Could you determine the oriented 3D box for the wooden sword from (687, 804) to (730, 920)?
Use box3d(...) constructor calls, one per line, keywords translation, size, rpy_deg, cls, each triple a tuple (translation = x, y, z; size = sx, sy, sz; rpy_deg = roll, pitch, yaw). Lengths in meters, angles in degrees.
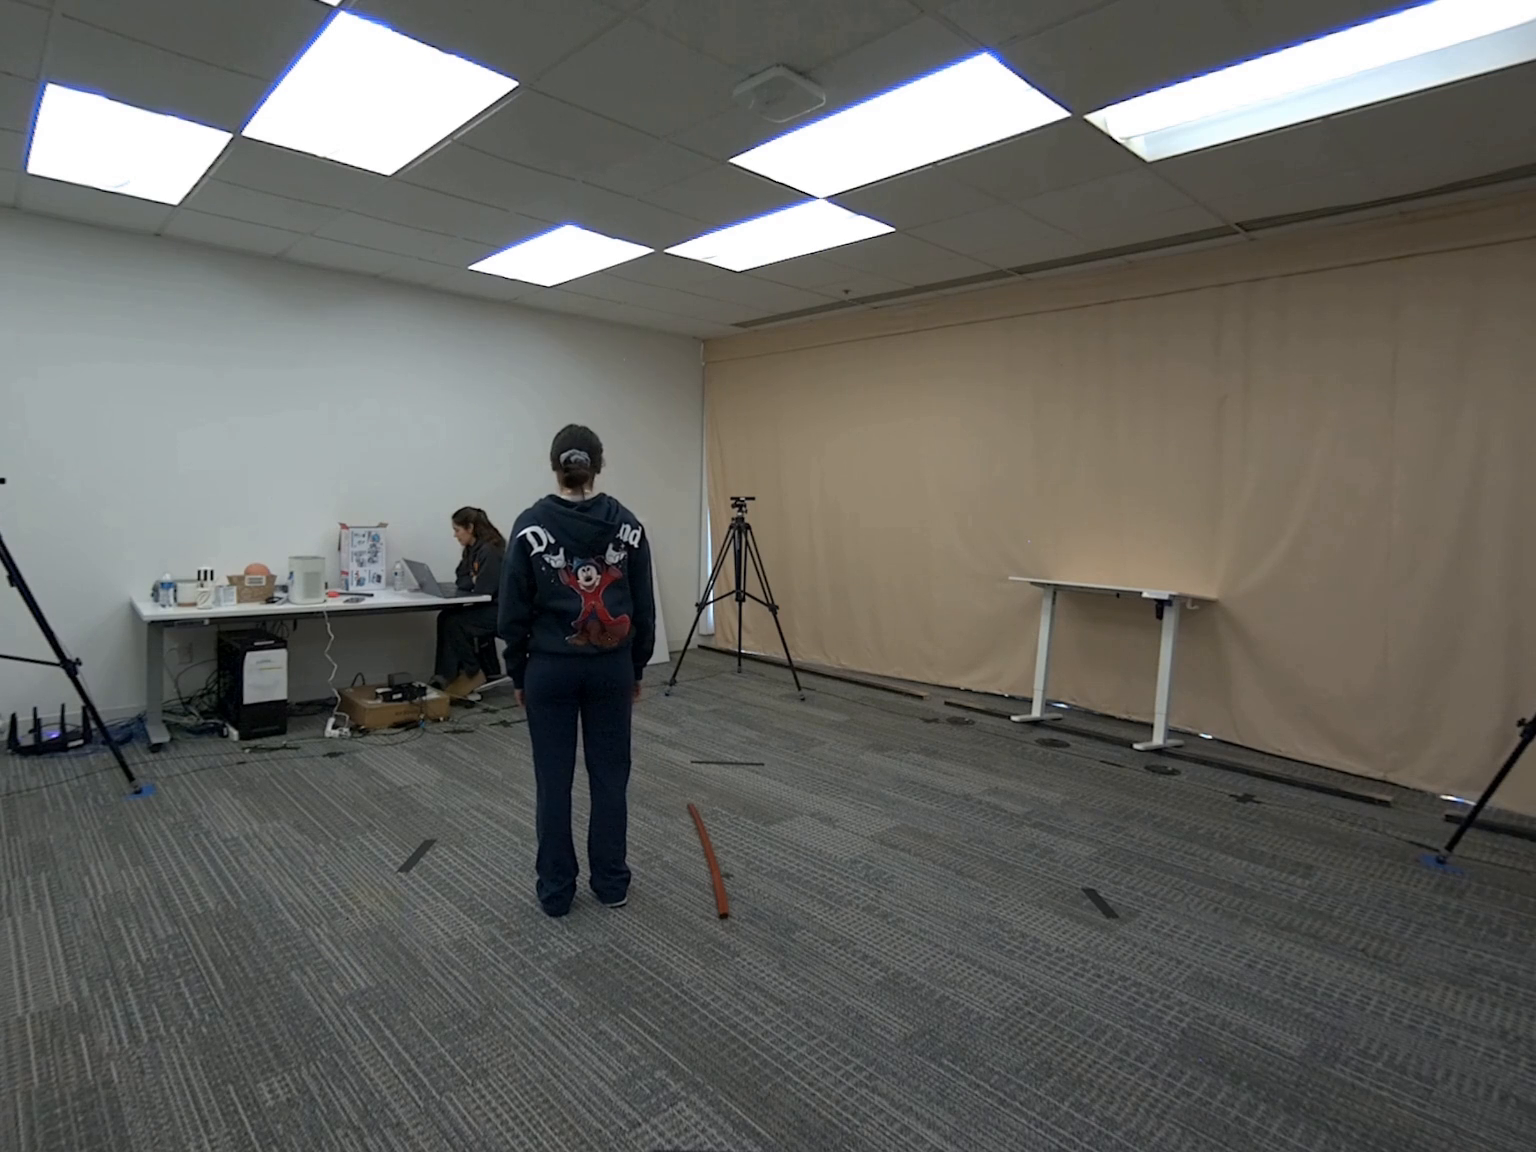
box3d(translation=(-0.241, 1.070, 3.288), size=(0.051, 0.024, 1.036), rpy_deg=(-13, 8, -10), cls="wooden sword")
